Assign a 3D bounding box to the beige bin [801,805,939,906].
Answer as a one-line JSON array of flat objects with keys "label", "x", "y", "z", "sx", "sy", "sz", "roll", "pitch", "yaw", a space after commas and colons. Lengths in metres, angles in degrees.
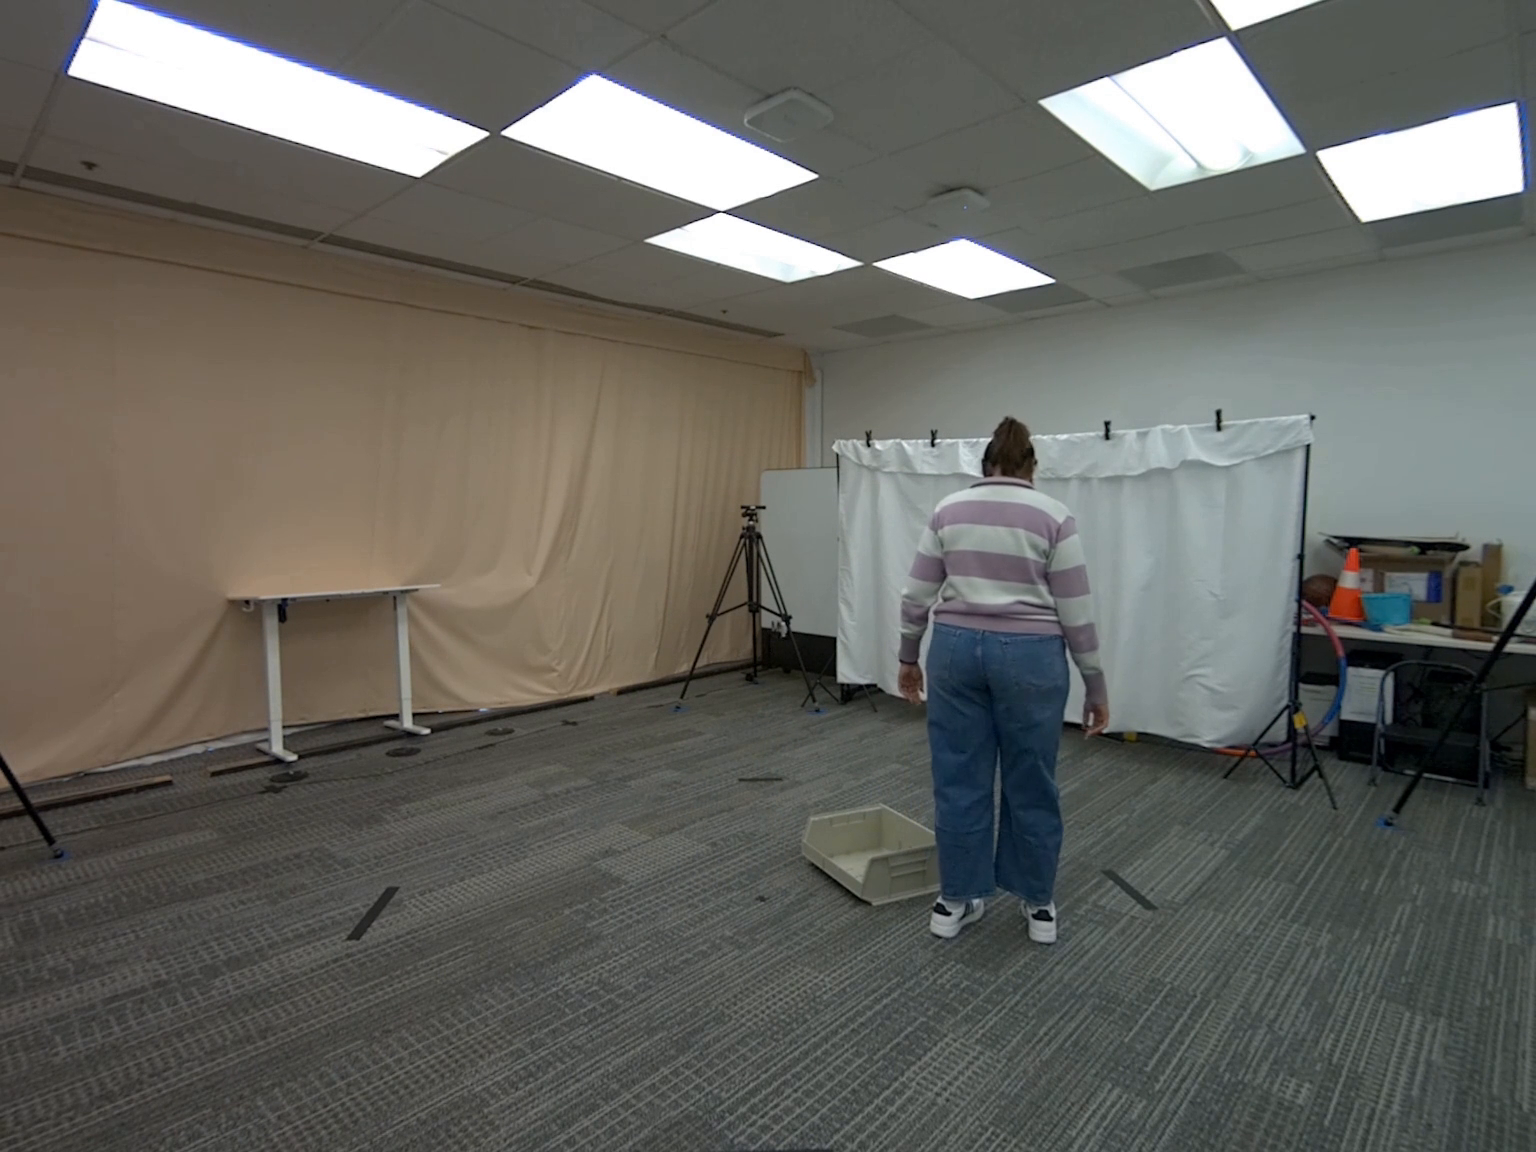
[{"label": "beige bin", "x": 0.397, "y": 1.040, "z": 3.162, "sx": 0.368, "sy": 0.188, "sz": 0.434, "roll": -1, "pitch": 4, "yaw": -27}]
